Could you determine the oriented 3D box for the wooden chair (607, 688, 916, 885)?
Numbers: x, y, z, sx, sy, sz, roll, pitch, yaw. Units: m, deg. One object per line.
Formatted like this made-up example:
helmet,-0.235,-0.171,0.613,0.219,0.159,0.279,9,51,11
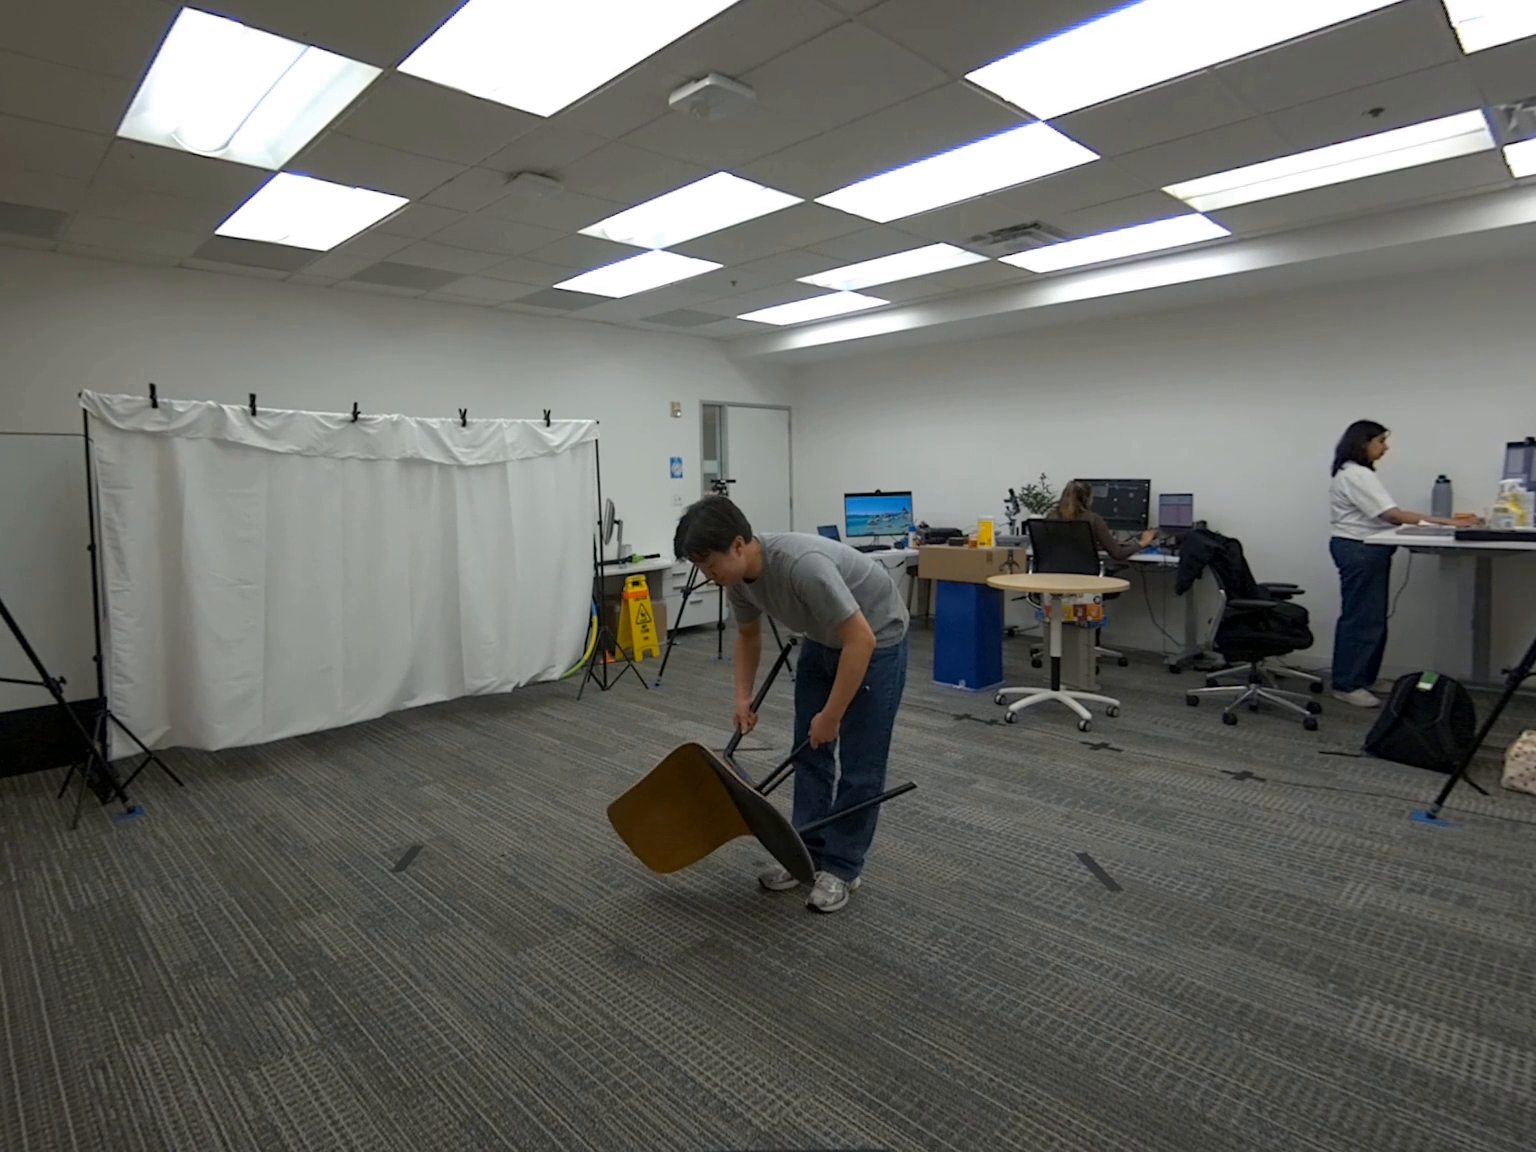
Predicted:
wooden chair,-0.043,0.716,2.753,0.874,0.463,0.541,-37,29,-13
